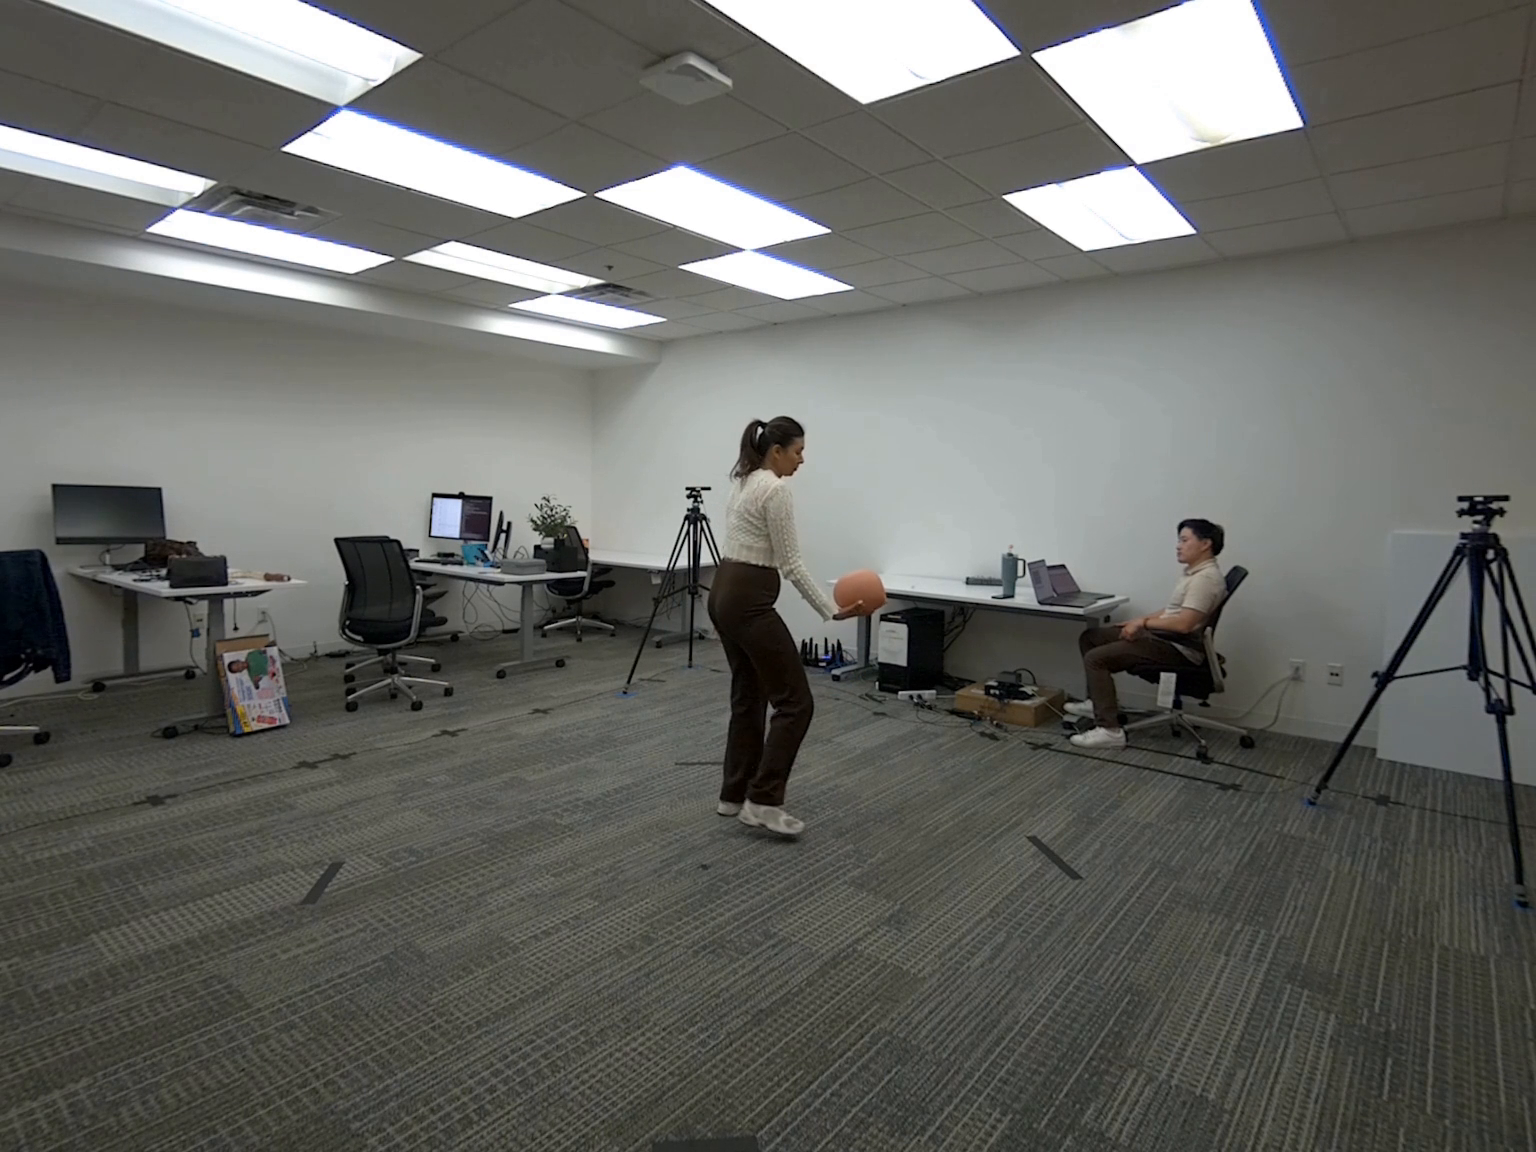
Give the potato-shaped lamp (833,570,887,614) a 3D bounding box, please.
[{"bbox_3d":[0.360,0.070,3.414,0.198,0.173,0.163,-17,-5,-1],"label":"potato-shaped lamp"}]
